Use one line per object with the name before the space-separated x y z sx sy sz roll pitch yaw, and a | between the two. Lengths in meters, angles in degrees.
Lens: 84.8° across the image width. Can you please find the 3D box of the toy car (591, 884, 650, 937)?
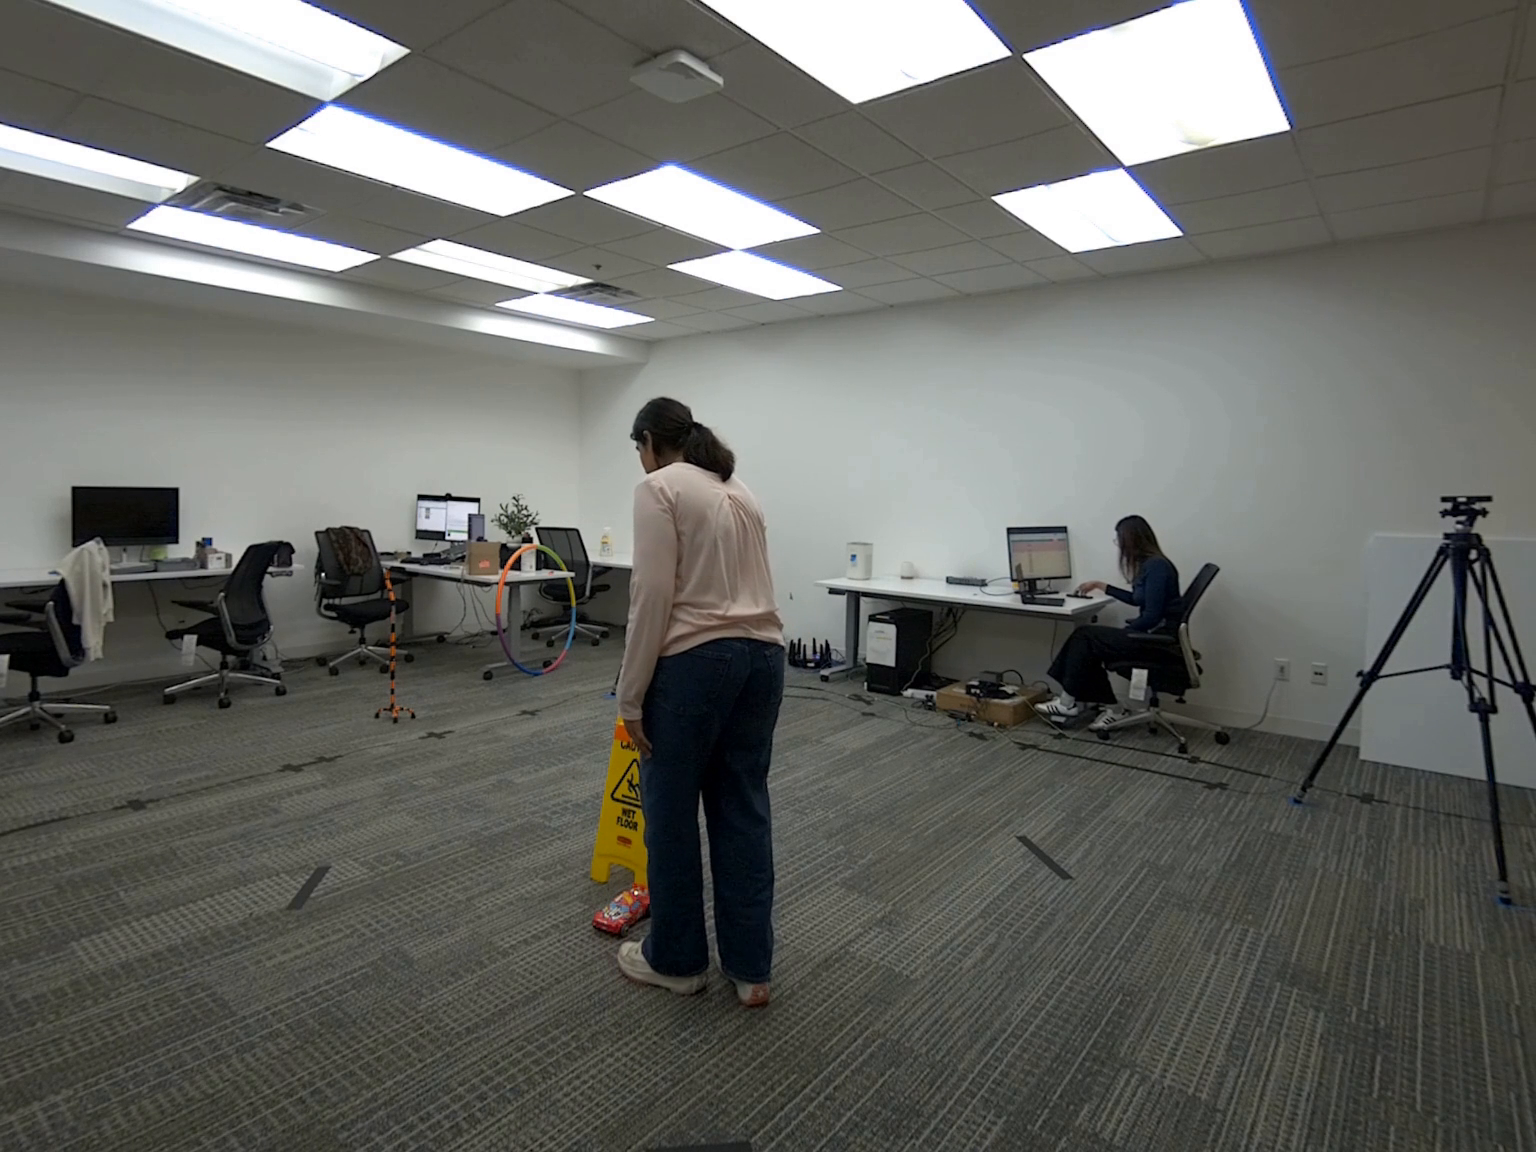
toy car | -0.457 1.065 2.730 0.134 0.082 0.251 4 17 27
